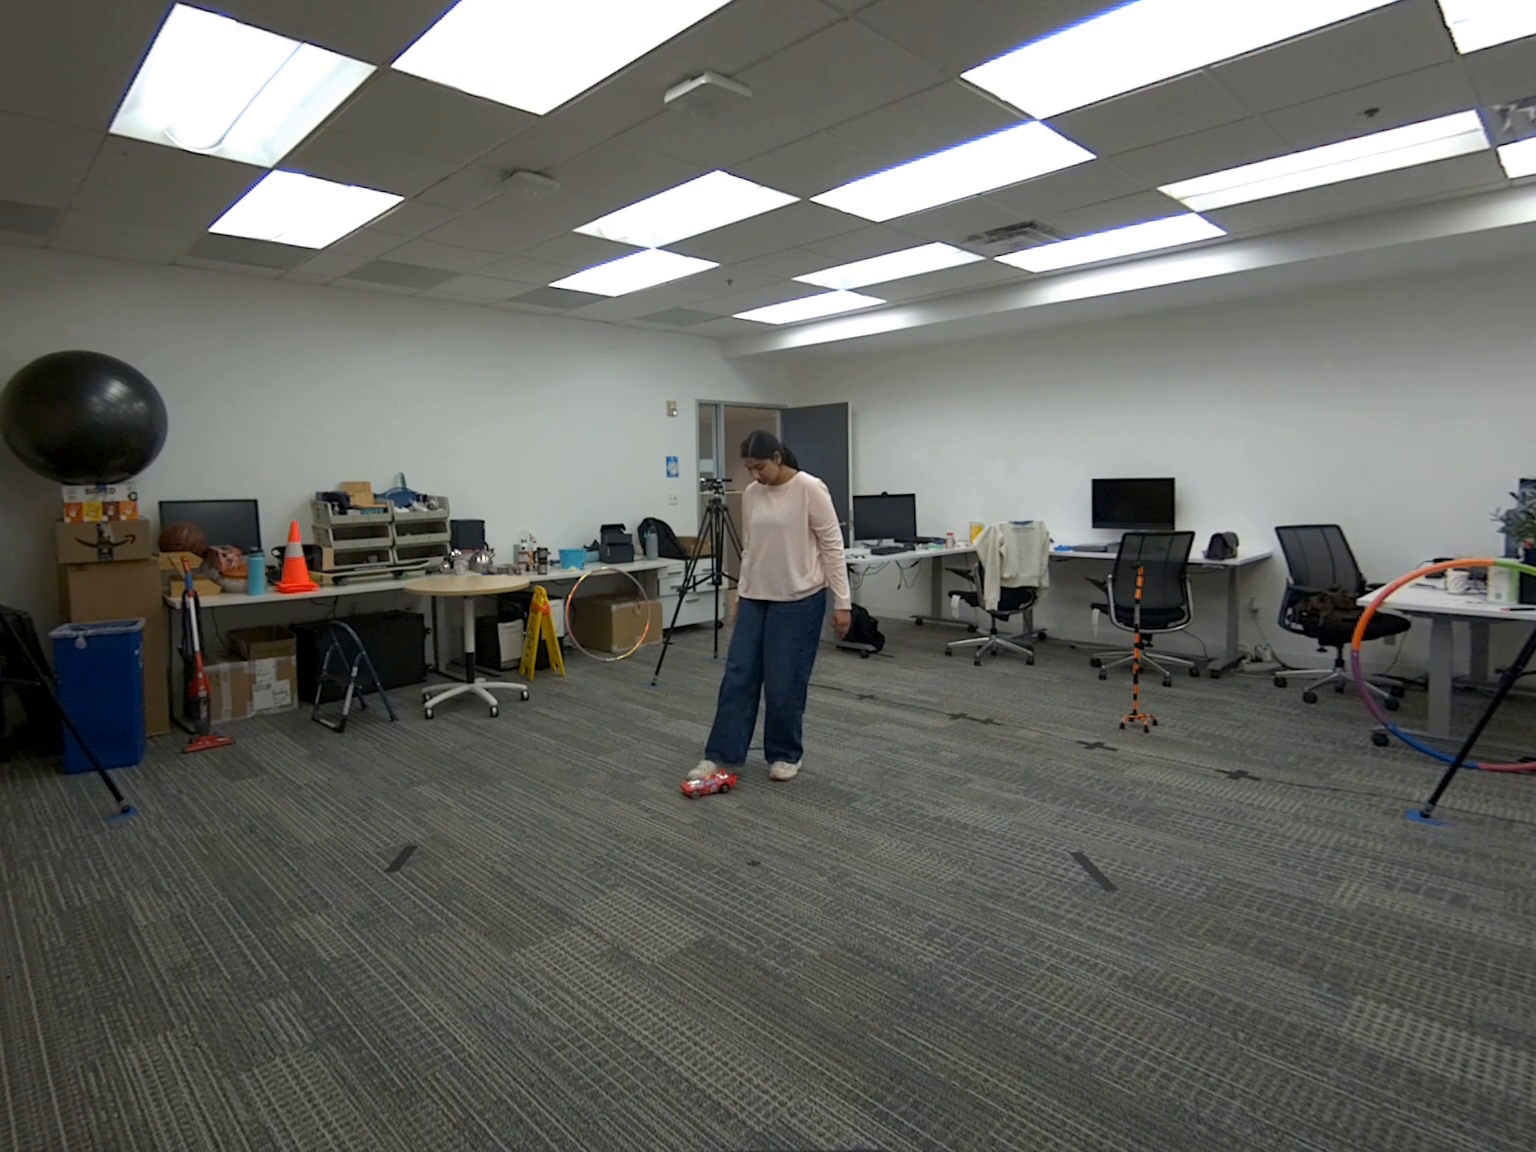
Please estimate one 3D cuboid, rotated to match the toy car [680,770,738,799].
[{"bbox_3d":[-0.262,0.938,3.830,0.251,0.082,0.133,-16,11,-24],"label":"toy car"}]
